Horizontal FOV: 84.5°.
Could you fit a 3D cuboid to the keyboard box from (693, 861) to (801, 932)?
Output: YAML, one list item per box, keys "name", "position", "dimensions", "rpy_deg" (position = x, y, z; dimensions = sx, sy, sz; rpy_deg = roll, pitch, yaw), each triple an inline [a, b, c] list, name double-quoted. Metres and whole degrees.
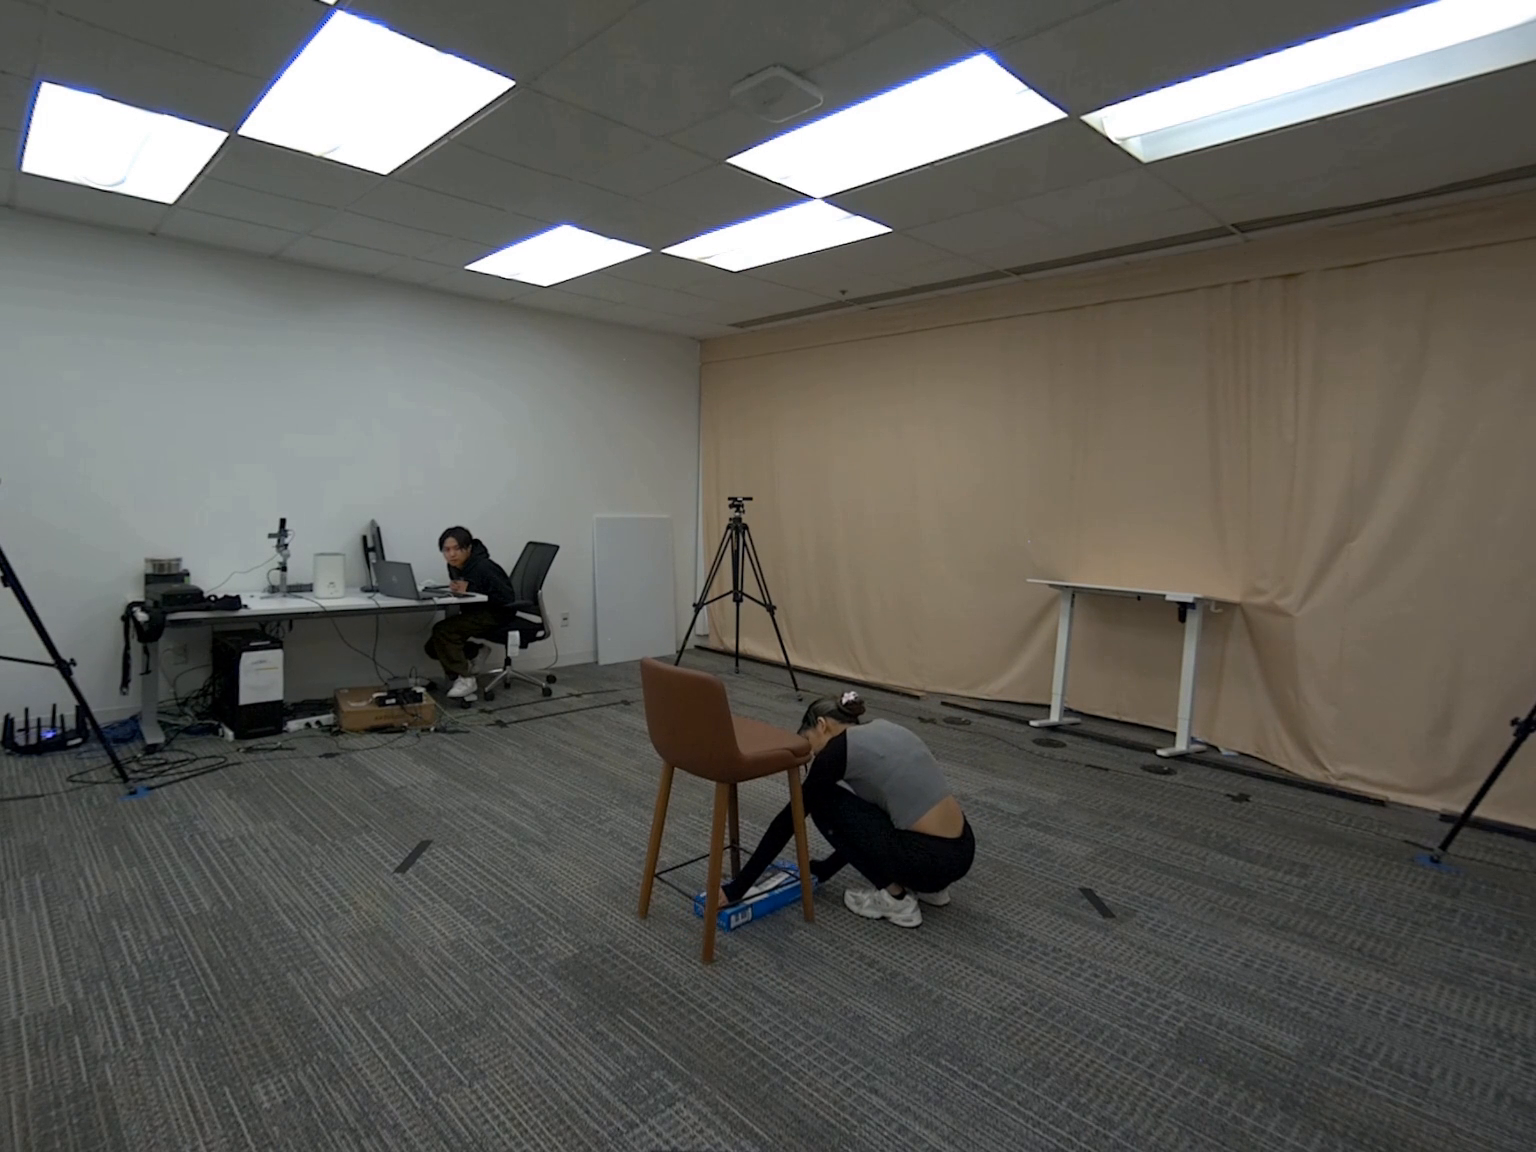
- name: "keyboard box"
  position: [-0.037, 1.092, 2.902]
  dimensions: [0.427, 0.059, 0.180]
  rpy_deg: [-4, 7, -43]
